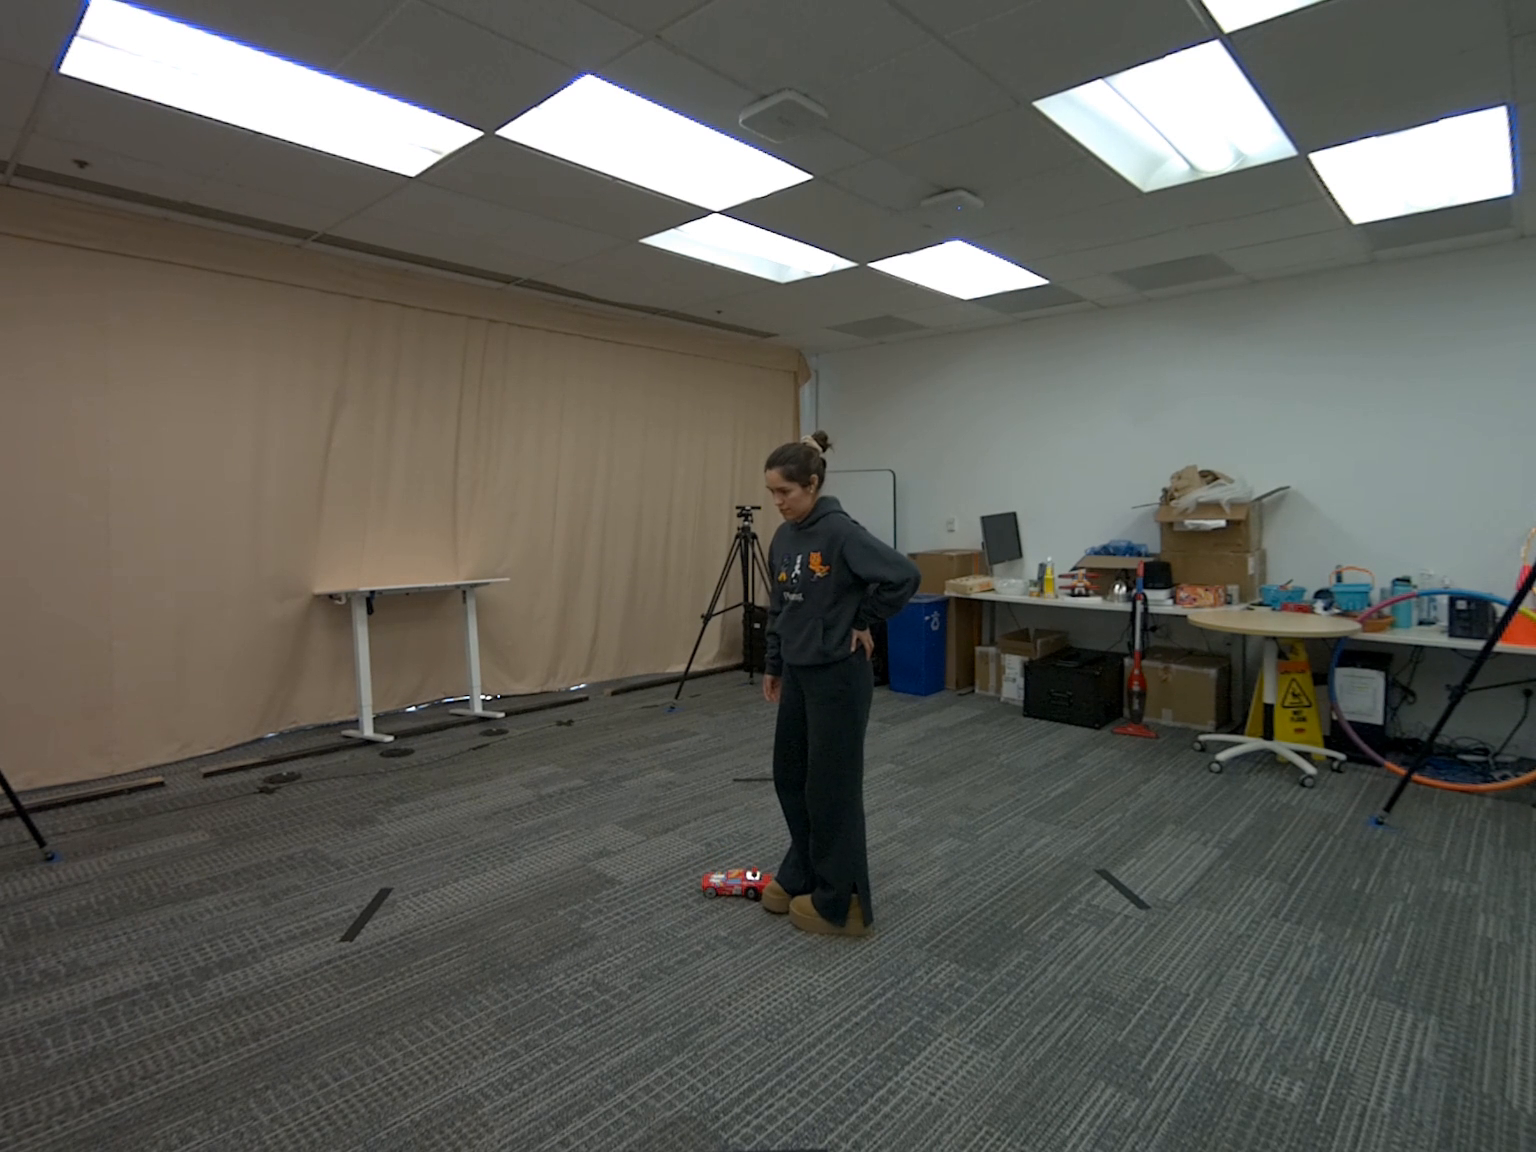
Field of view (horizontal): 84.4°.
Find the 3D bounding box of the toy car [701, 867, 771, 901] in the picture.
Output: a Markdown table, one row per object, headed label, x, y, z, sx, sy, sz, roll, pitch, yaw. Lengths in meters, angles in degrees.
| label | x | y | z | sx | sy | sz | roll | pitch | yaw |
| --- | --- | --- | --- | --- | --- | --- | --- | --- | --- |
| toy car | -0.084 | 1.113 | 3.035 | 0.255 | 0.083 | 0.130 | -13 | 5 | 4 |
